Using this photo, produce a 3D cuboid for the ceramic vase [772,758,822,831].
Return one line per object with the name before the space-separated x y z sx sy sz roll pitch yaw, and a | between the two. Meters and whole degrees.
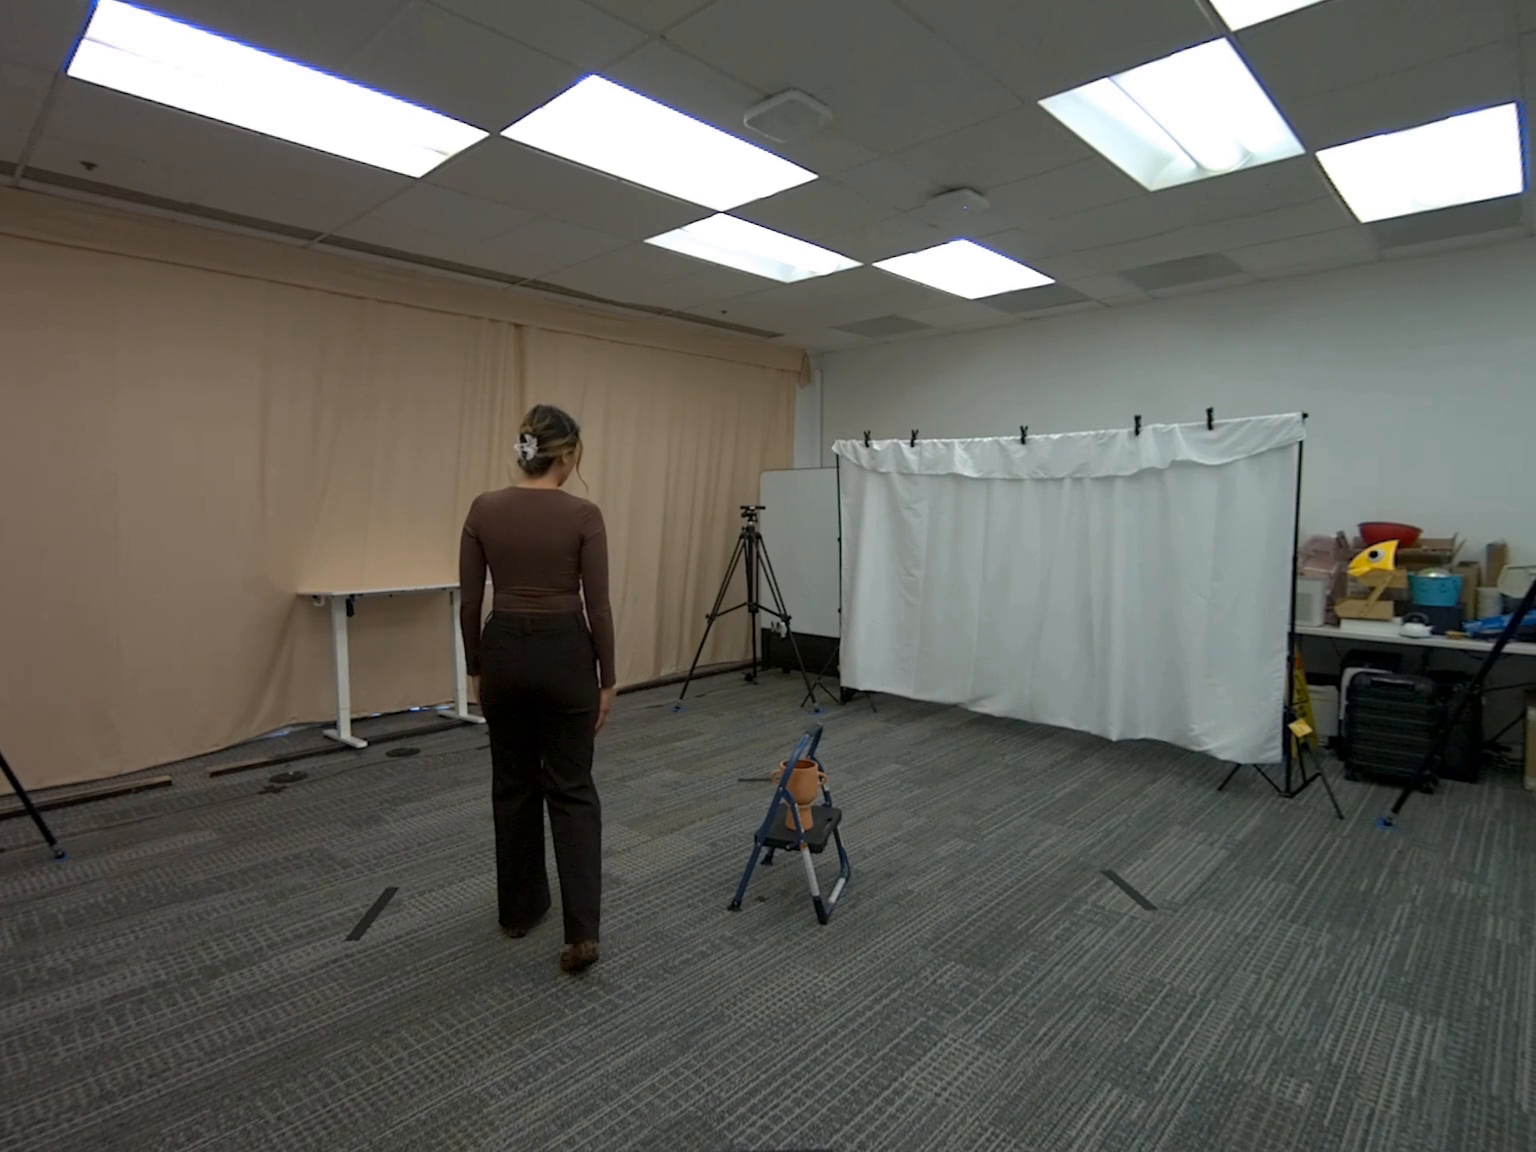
ceramic vase | 0.114 0.775 2.967 0.130 0.219 0.164 -3 4 -39
